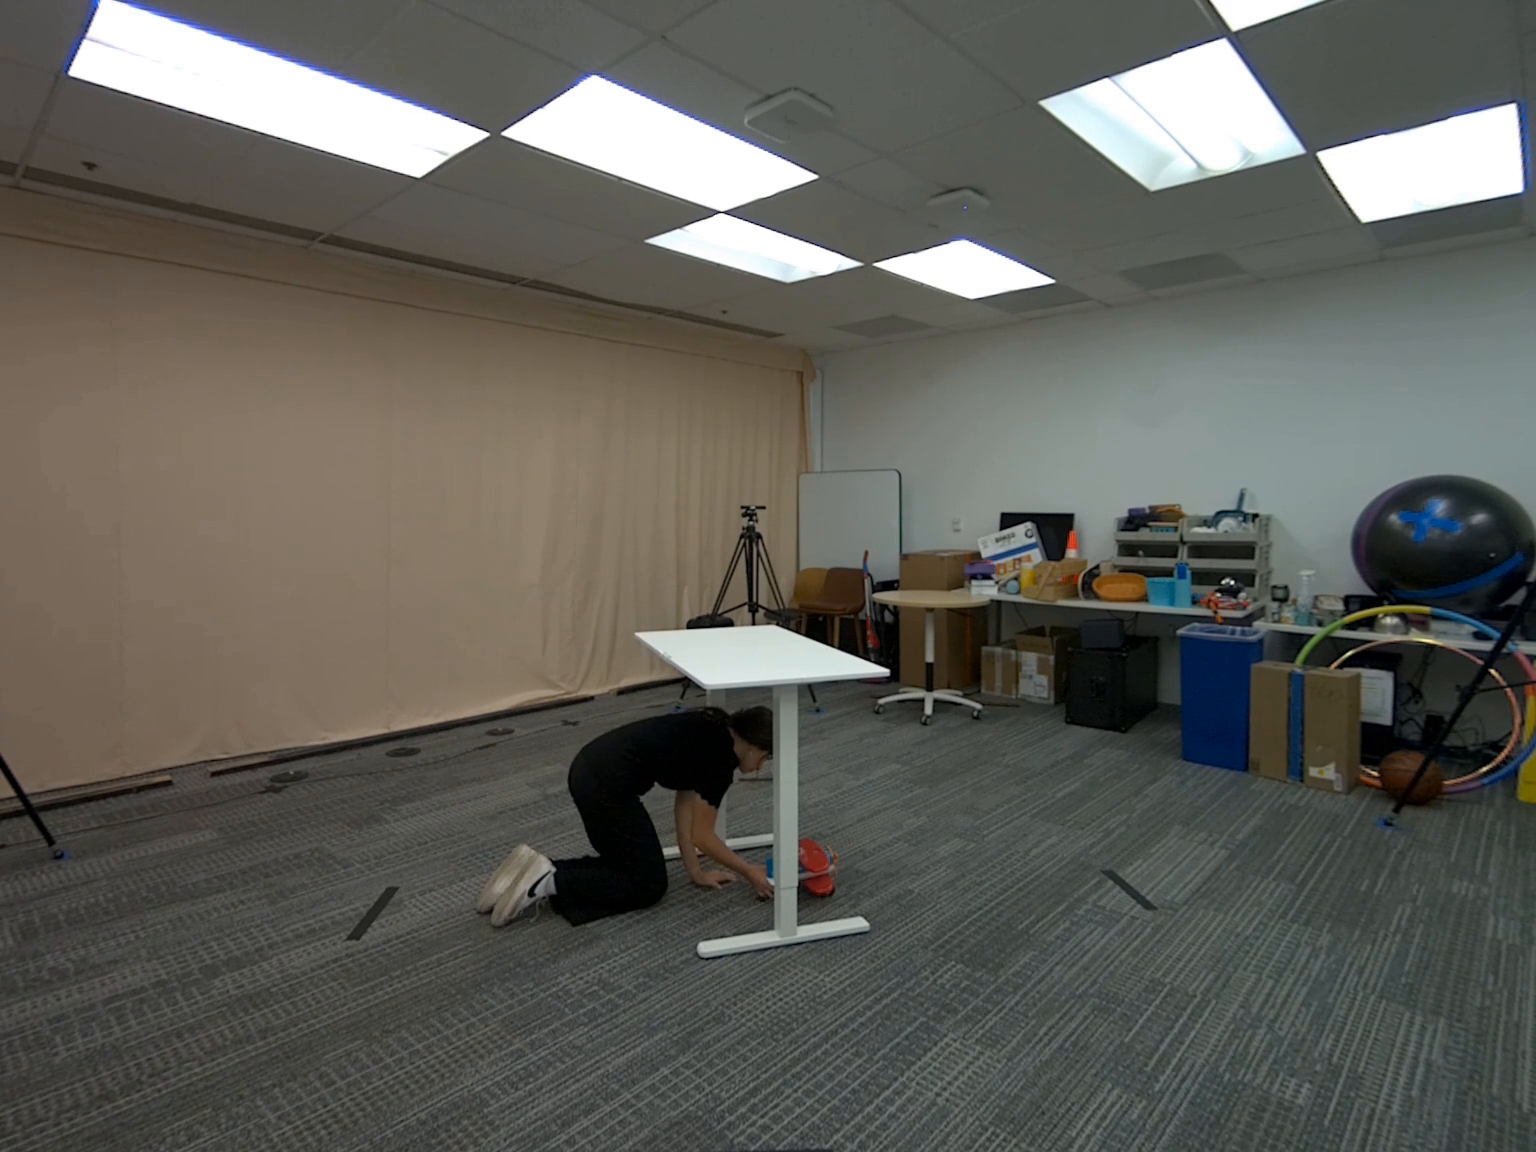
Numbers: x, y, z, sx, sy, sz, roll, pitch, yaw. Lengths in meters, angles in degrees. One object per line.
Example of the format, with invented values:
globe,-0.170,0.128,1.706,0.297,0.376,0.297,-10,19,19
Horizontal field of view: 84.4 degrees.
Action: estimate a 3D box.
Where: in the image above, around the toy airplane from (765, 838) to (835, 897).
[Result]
toy airplane,0.126,1.066,2.989,0.251,0.156,0.260,1,5,-40
